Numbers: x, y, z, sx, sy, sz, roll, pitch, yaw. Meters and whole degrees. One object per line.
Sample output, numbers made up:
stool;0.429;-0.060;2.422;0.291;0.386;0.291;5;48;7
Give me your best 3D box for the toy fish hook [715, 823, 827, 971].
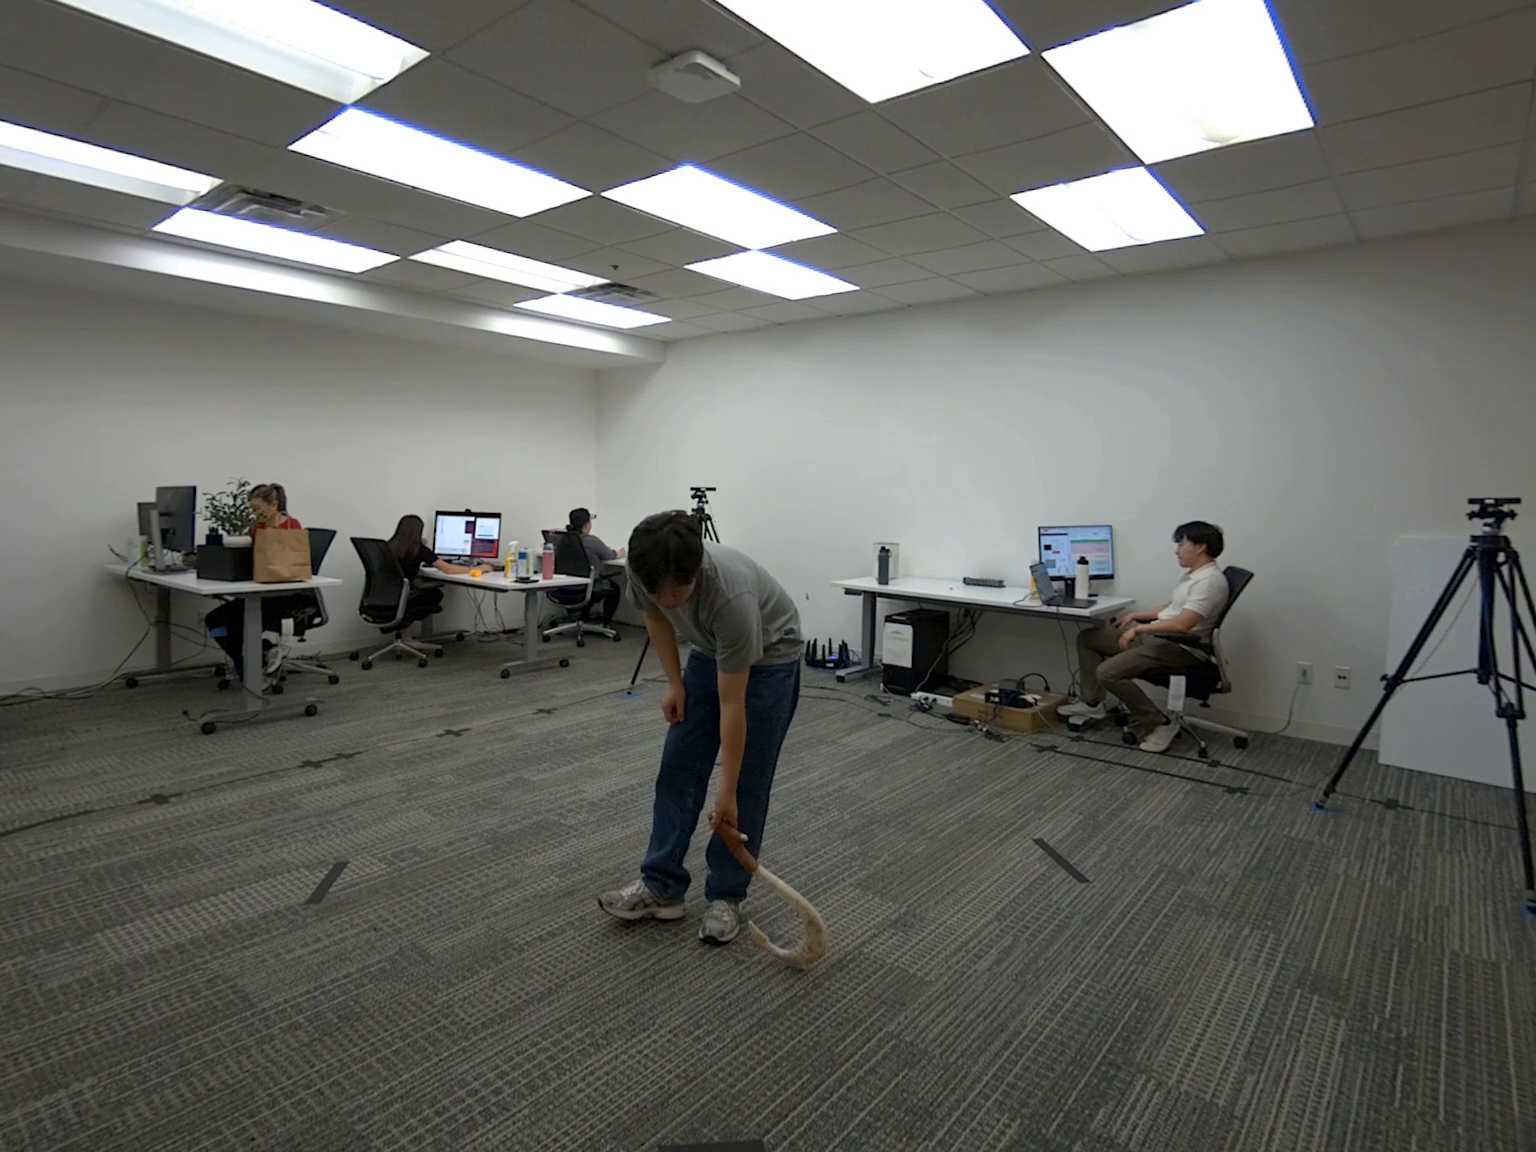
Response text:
toy fish hook;-0.044;0.920;2.476;0.225;0.513;0.047;-44;-9;14
